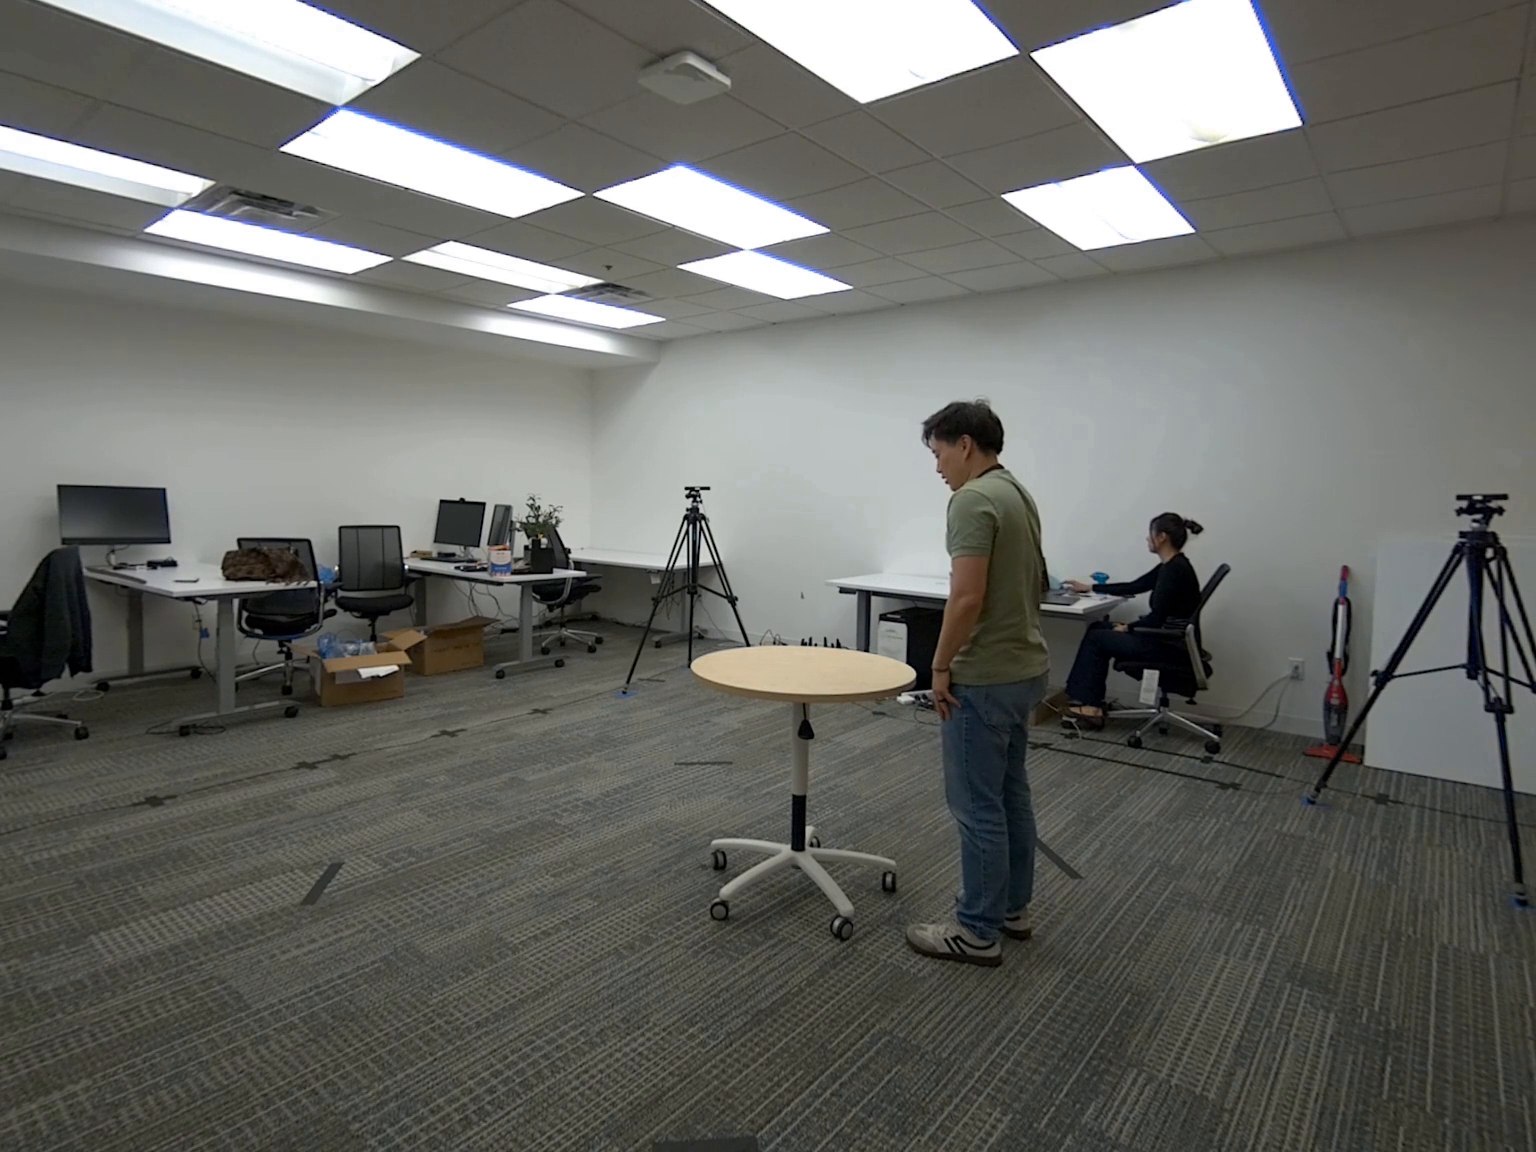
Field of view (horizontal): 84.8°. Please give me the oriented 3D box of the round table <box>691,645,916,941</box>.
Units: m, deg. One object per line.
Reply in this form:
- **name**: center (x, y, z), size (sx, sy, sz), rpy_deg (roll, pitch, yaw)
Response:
- **round table**: center (0.099, 0.700, 2.944), size (0.763, 0.791, 0.768), rpy_deg (1, 4, -2)
